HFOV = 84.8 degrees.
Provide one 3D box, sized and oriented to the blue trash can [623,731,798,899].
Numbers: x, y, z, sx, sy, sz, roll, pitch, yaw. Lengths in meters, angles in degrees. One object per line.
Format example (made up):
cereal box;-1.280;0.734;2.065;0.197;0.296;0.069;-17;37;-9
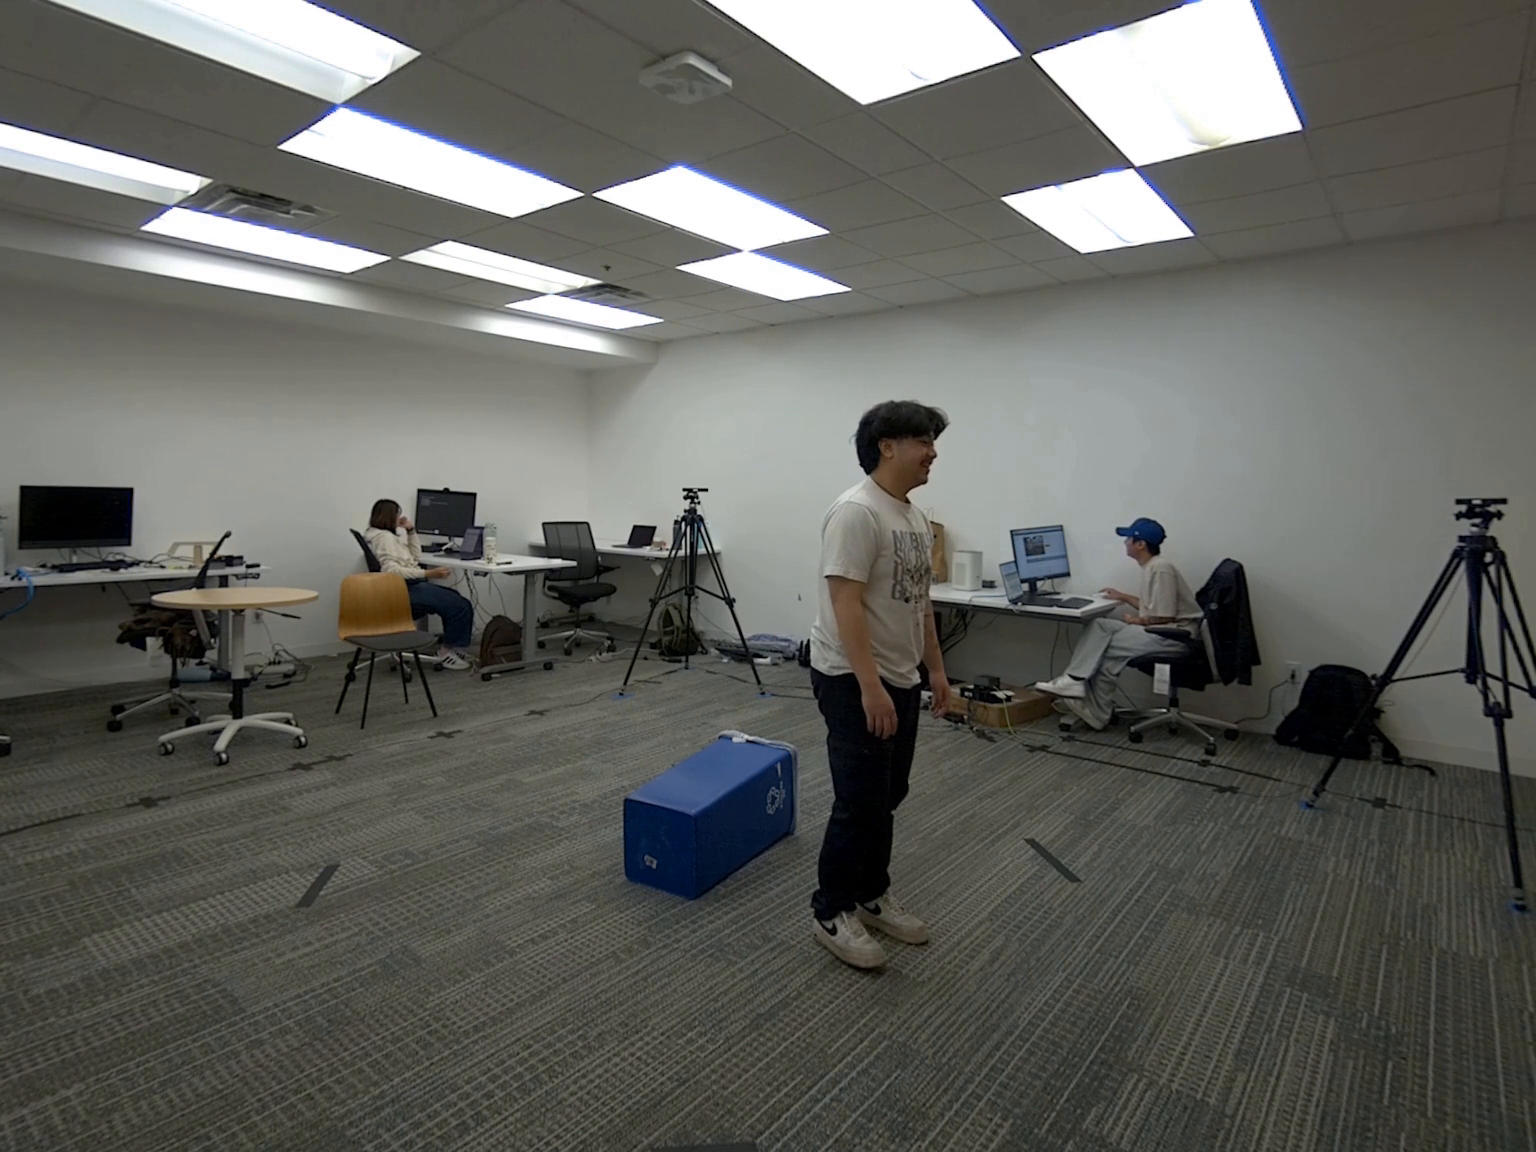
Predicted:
blue trash can;-0.221;0.893;3.230;0.389;0.371;0.697;4;10;30
